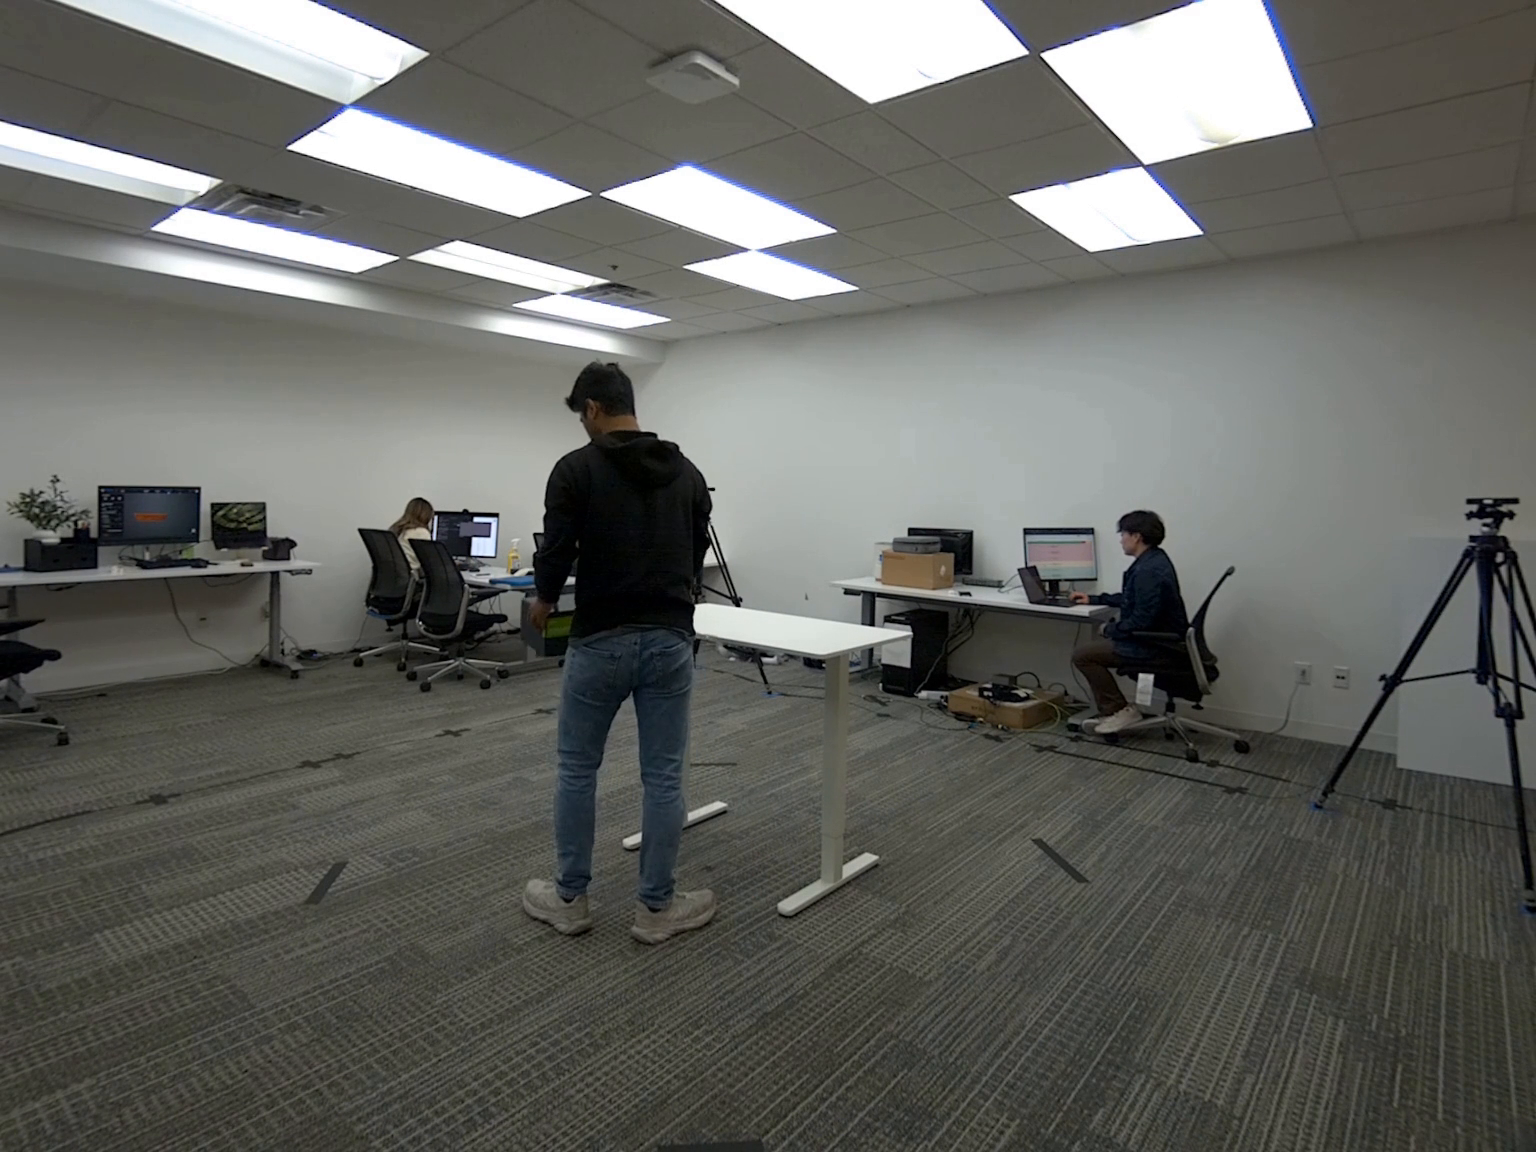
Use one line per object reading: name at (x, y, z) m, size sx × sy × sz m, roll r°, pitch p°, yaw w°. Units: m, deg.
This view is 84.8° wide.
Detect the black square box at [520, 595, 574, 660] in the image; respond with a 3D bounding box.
black square box at (-0.725, 0.177, 2.977) m, size 0.221 × 0.154 × 0.225 m, roll -4°, pitch 13°, yaw -35°
